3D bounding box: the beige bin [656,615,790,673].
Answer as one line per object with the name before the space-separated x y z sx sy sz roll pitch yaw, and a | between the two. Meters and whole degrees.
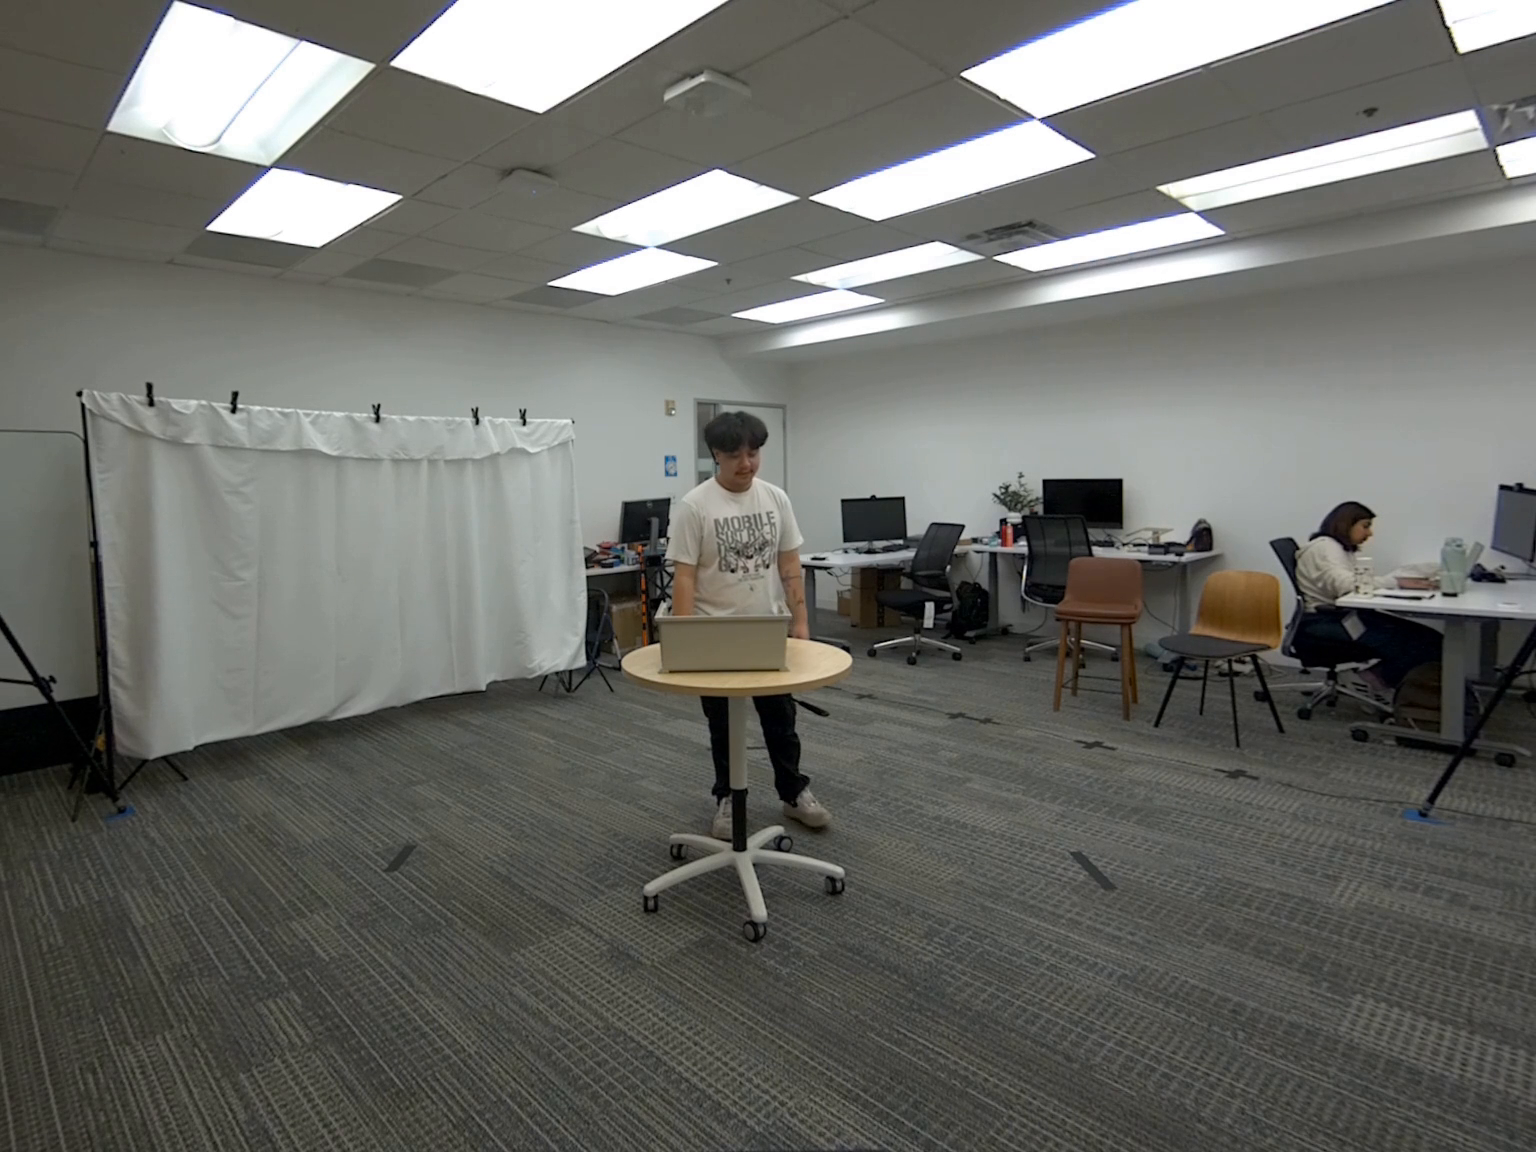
beige bin | -0.150 0.191 2.831 0.422 0.187 0.380 0 9 0
